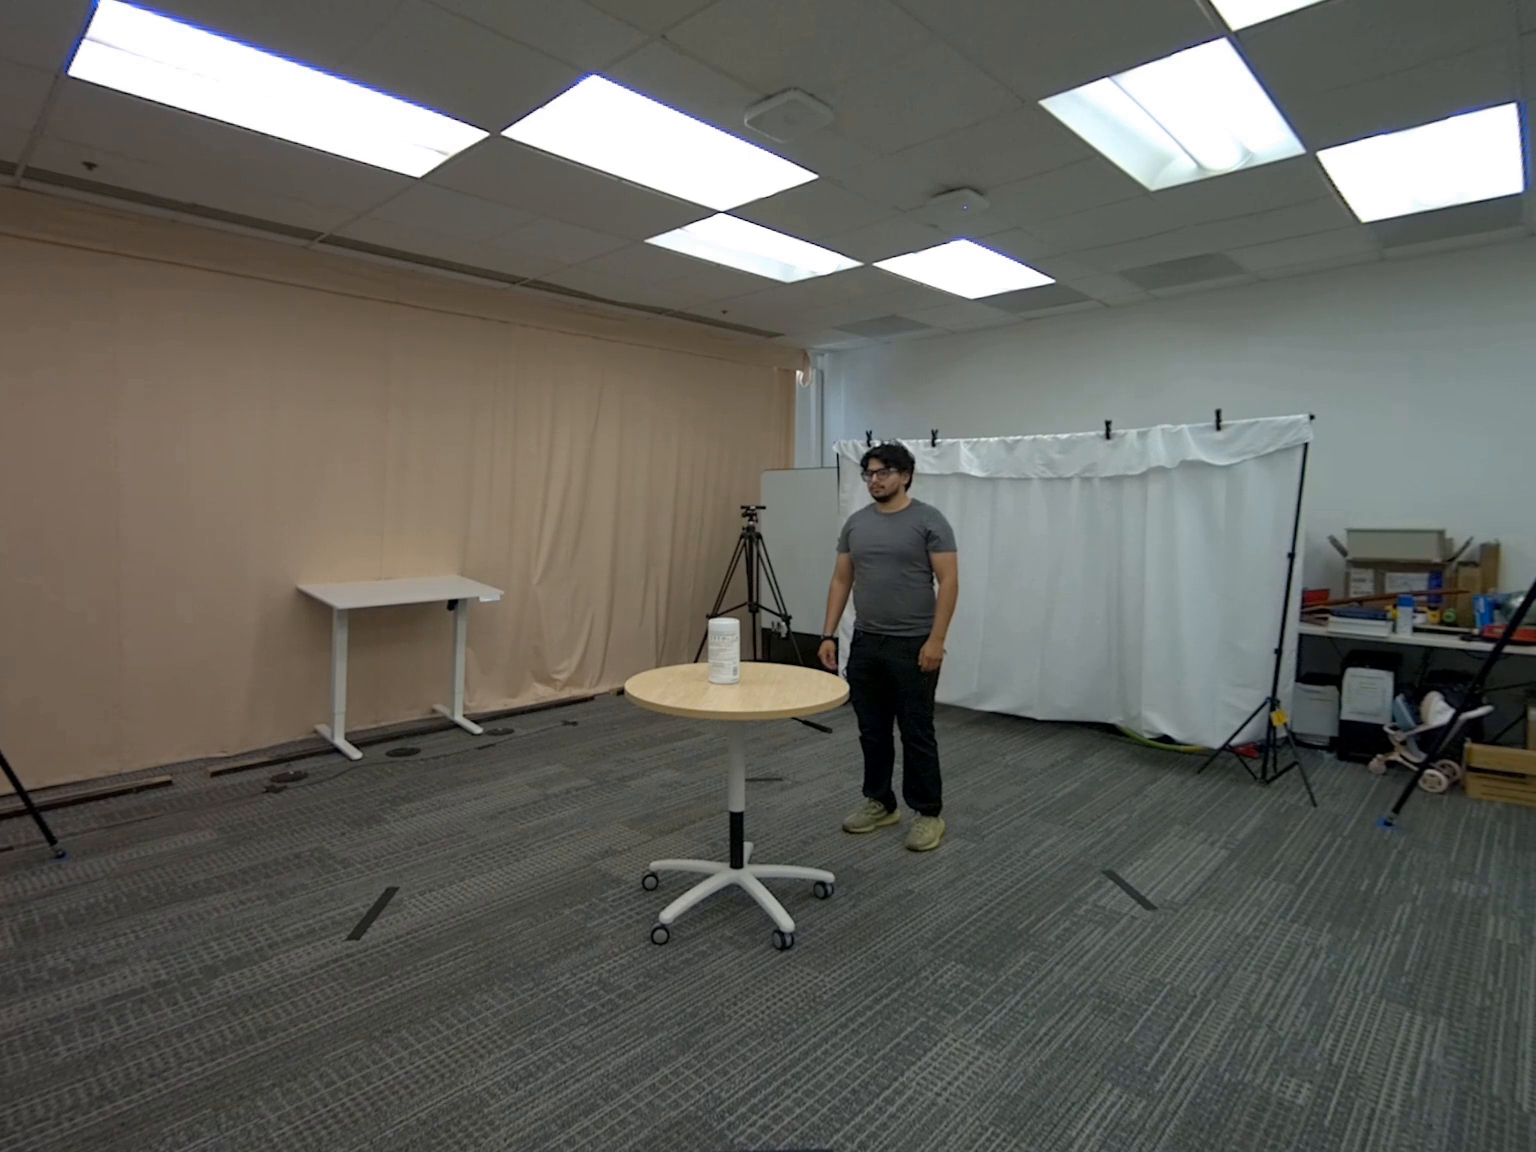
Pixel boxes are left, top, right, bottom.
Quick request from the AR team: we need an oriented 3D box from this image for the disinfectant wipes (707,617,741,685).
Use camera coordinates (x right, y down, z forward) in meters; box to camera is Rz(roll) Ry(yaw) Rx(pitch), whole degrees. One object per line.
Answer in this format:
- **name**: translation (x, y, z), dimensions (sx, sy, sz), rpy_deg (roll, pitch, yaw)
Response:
- **disinfectant wipes**: translation (-0.148, 0.259, 2.913), dimensions (0.118, 0.217, 0.118), rpy_deg (1, 3, -2)
